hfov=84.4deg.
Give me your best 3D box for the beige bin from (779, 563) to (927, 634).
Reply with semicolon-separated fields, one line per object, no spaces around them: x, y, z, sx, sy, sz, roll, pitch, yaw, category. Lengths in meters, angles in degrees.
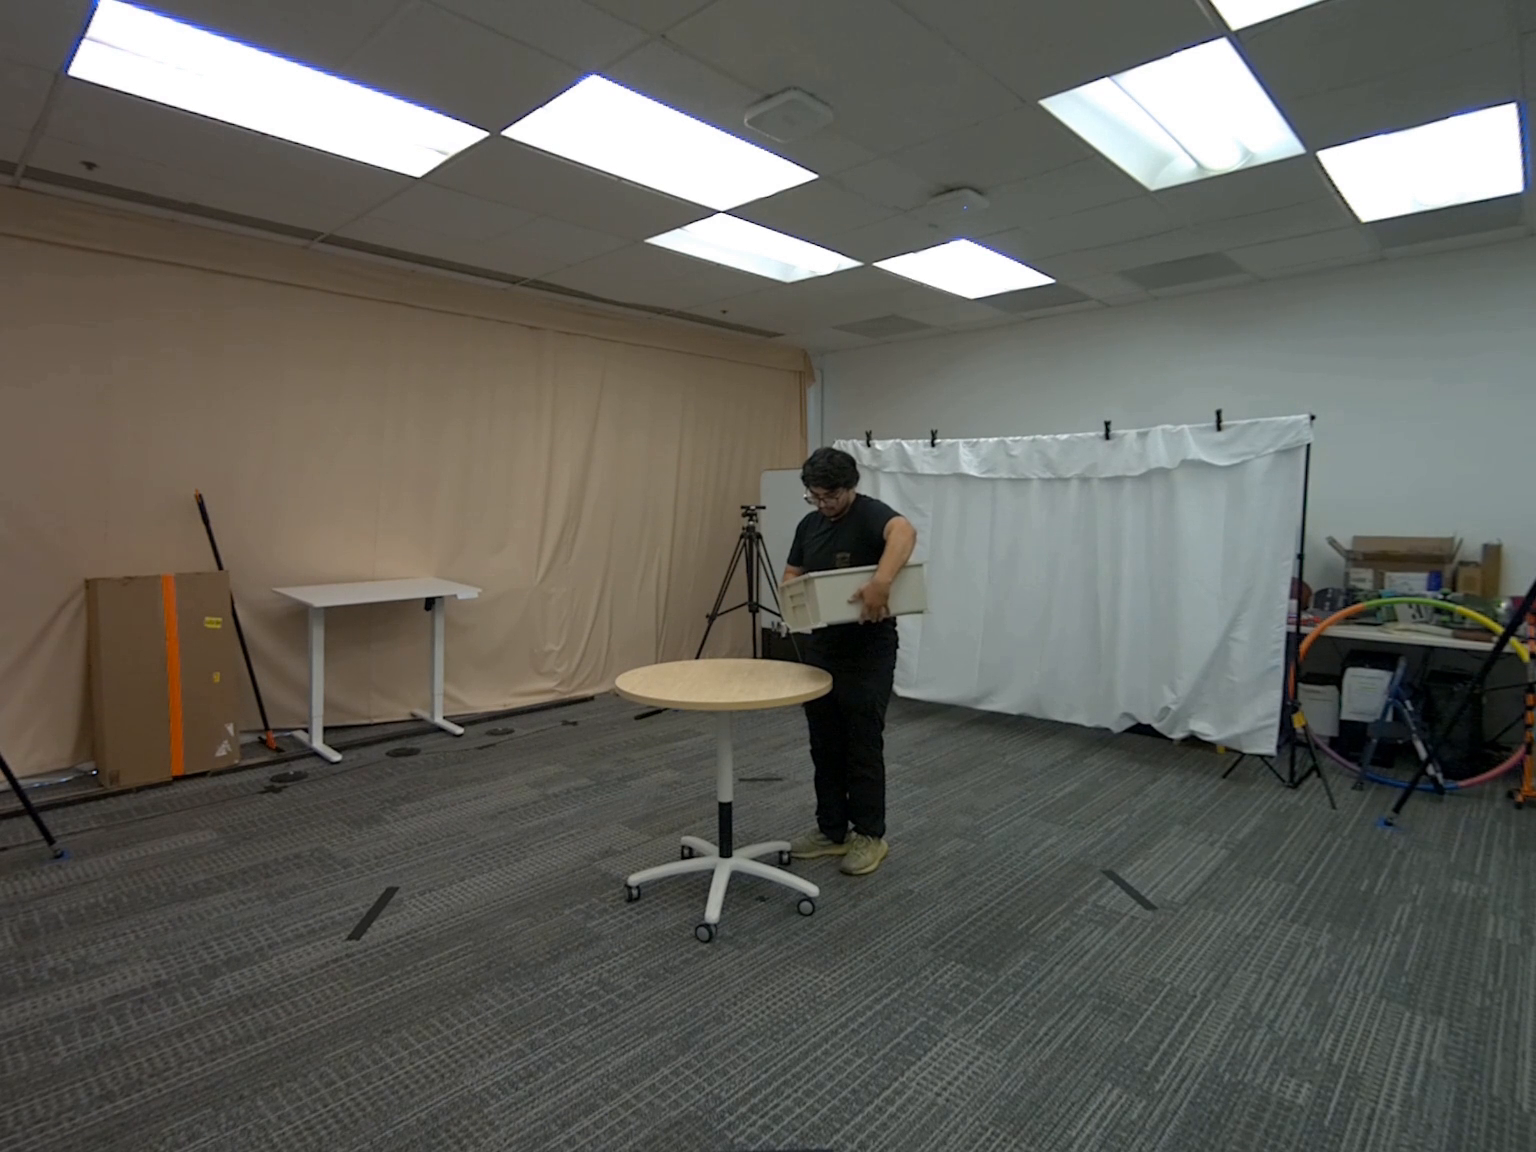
0.287;0.076;2.957;0.416;0.189;0.382;-6;-3;-16;beige bin
